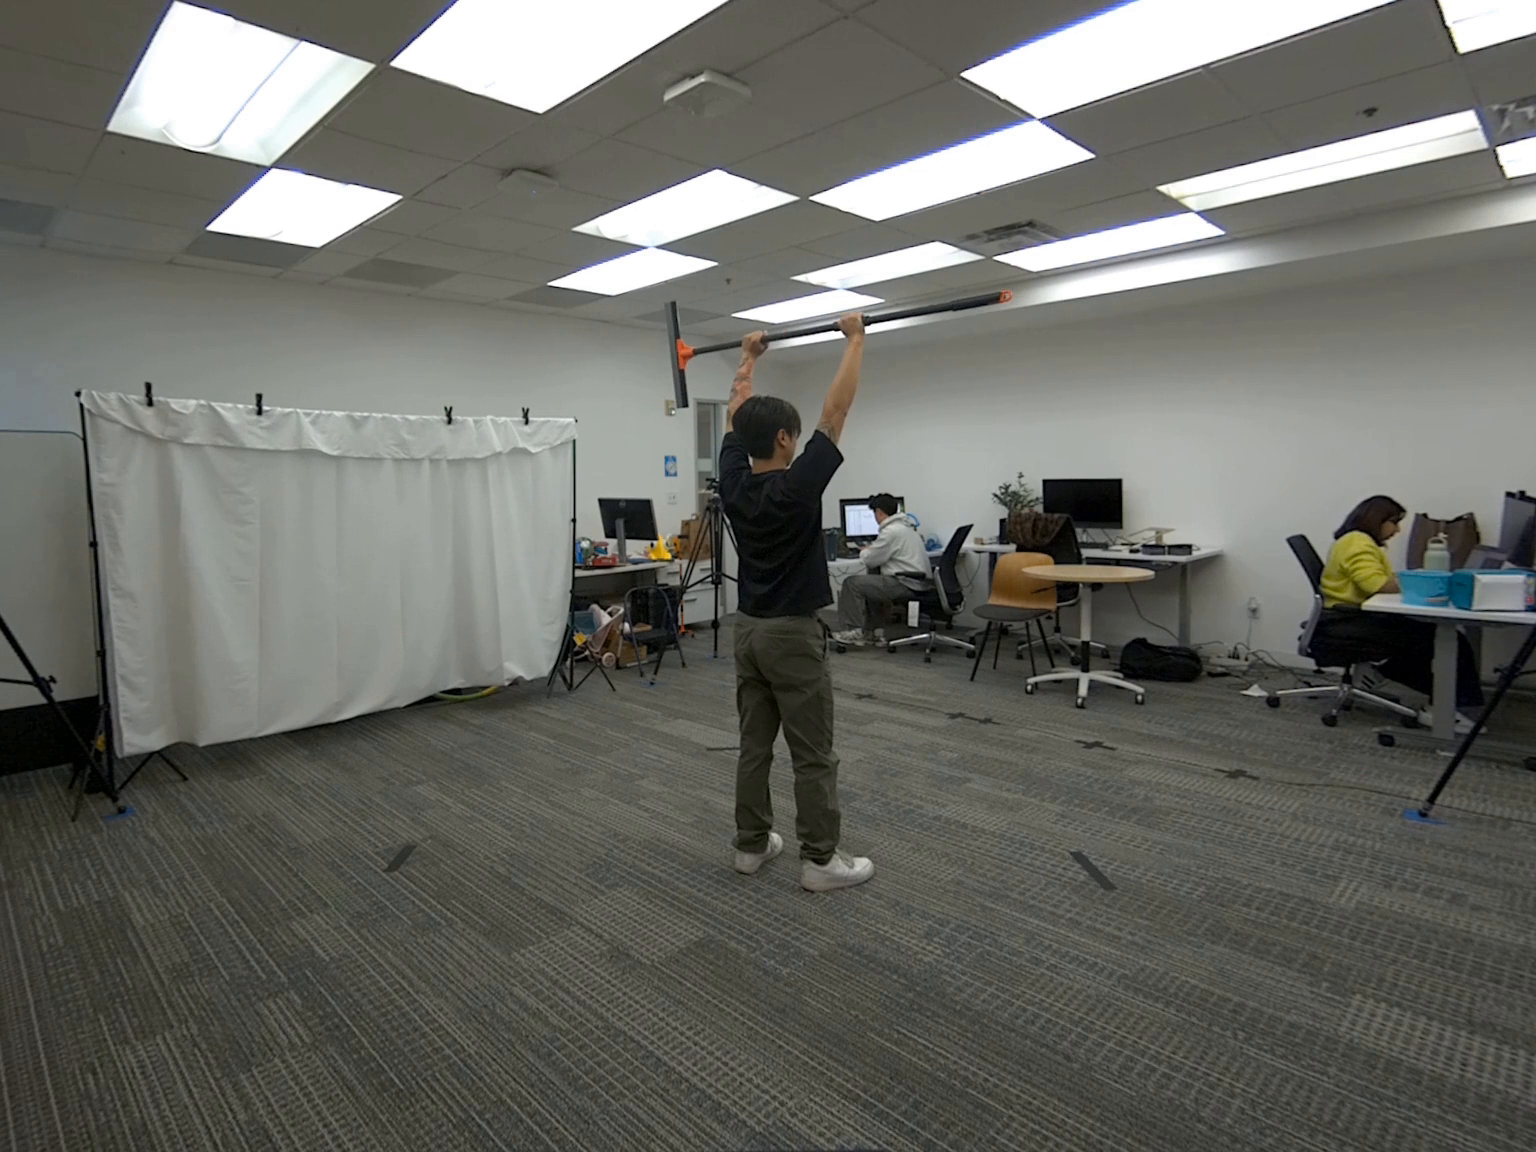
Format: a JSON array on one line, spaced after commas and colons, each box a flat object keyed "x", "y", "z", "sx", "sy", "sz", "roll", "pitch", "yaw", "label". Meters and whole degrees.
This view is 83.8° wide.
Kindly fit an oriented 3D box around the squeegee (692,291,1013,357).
[{"x": 0.150, "y": -0.842, "z": 2.968, "sx": 0.052, "sy": 0.434, "sz": 1.586, "roll": -10, "pitch": 11, "yaw": -42, "label": "squeegee"}]
